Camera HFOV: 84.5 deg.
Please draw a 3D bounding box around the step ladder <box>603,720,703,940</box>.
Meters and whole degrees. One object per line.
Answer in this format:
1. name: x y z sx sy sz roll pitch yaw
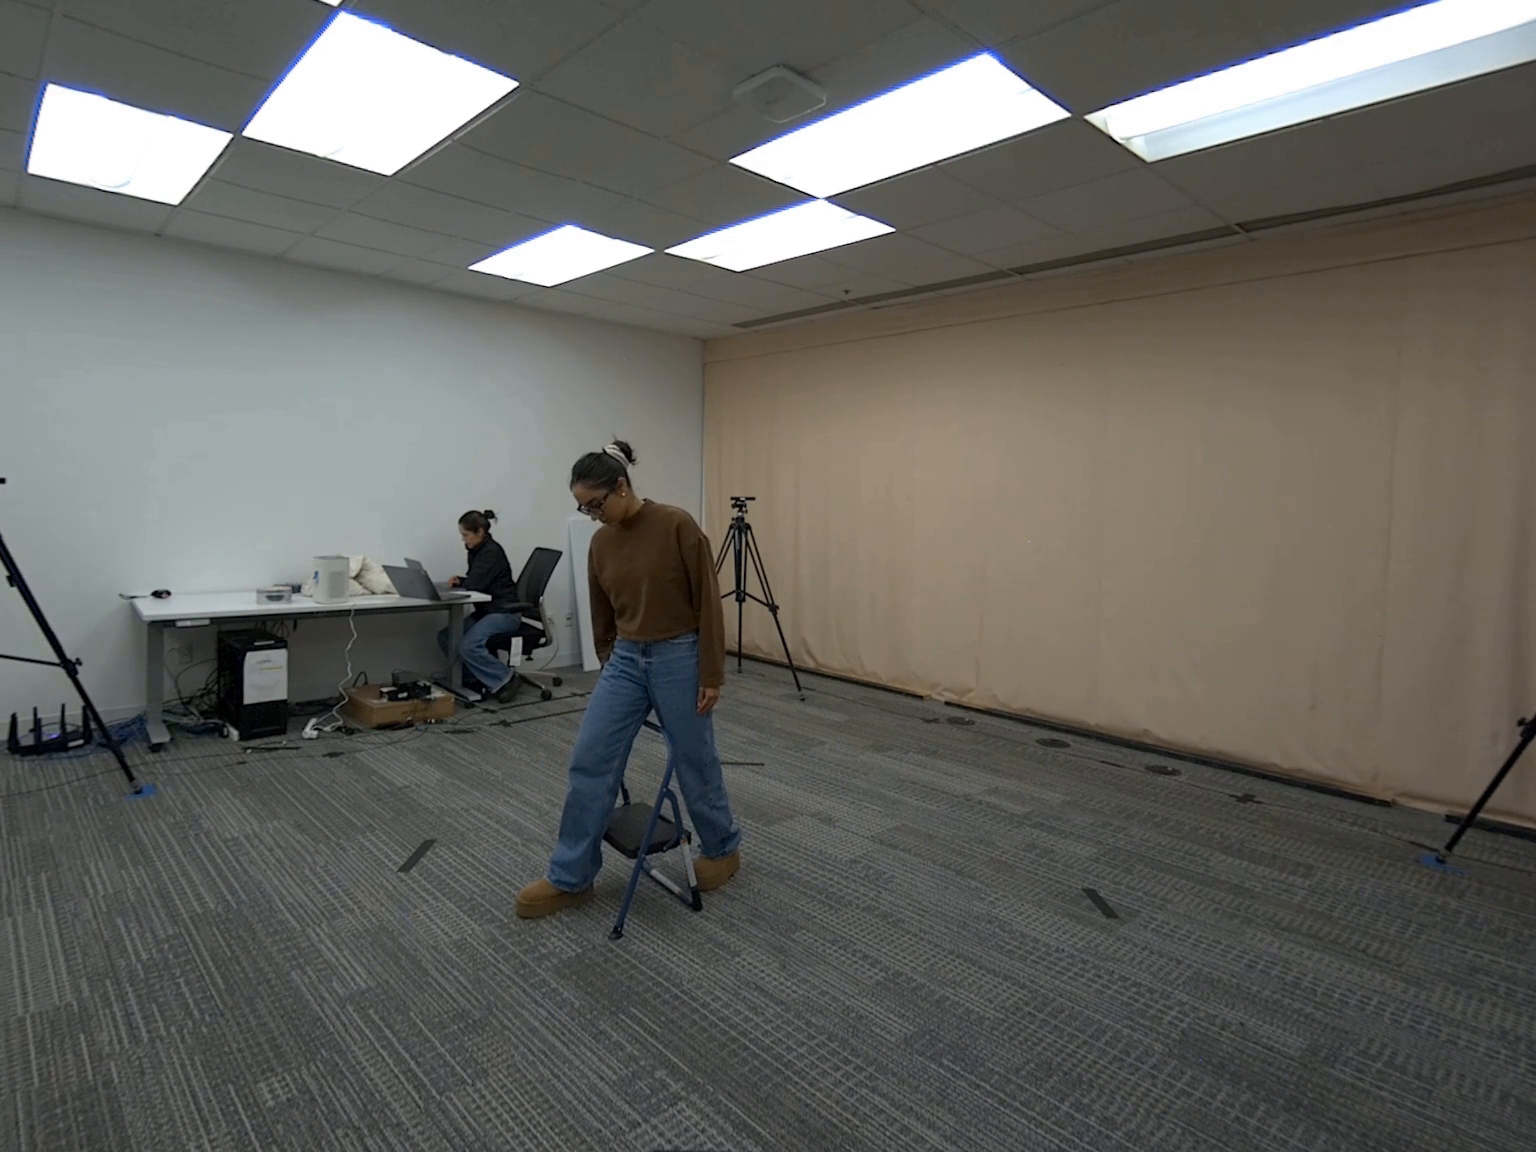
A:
1. step ladder: -0.468 0.813 2.888 0.341 0.605 0.441 1 4 -37
